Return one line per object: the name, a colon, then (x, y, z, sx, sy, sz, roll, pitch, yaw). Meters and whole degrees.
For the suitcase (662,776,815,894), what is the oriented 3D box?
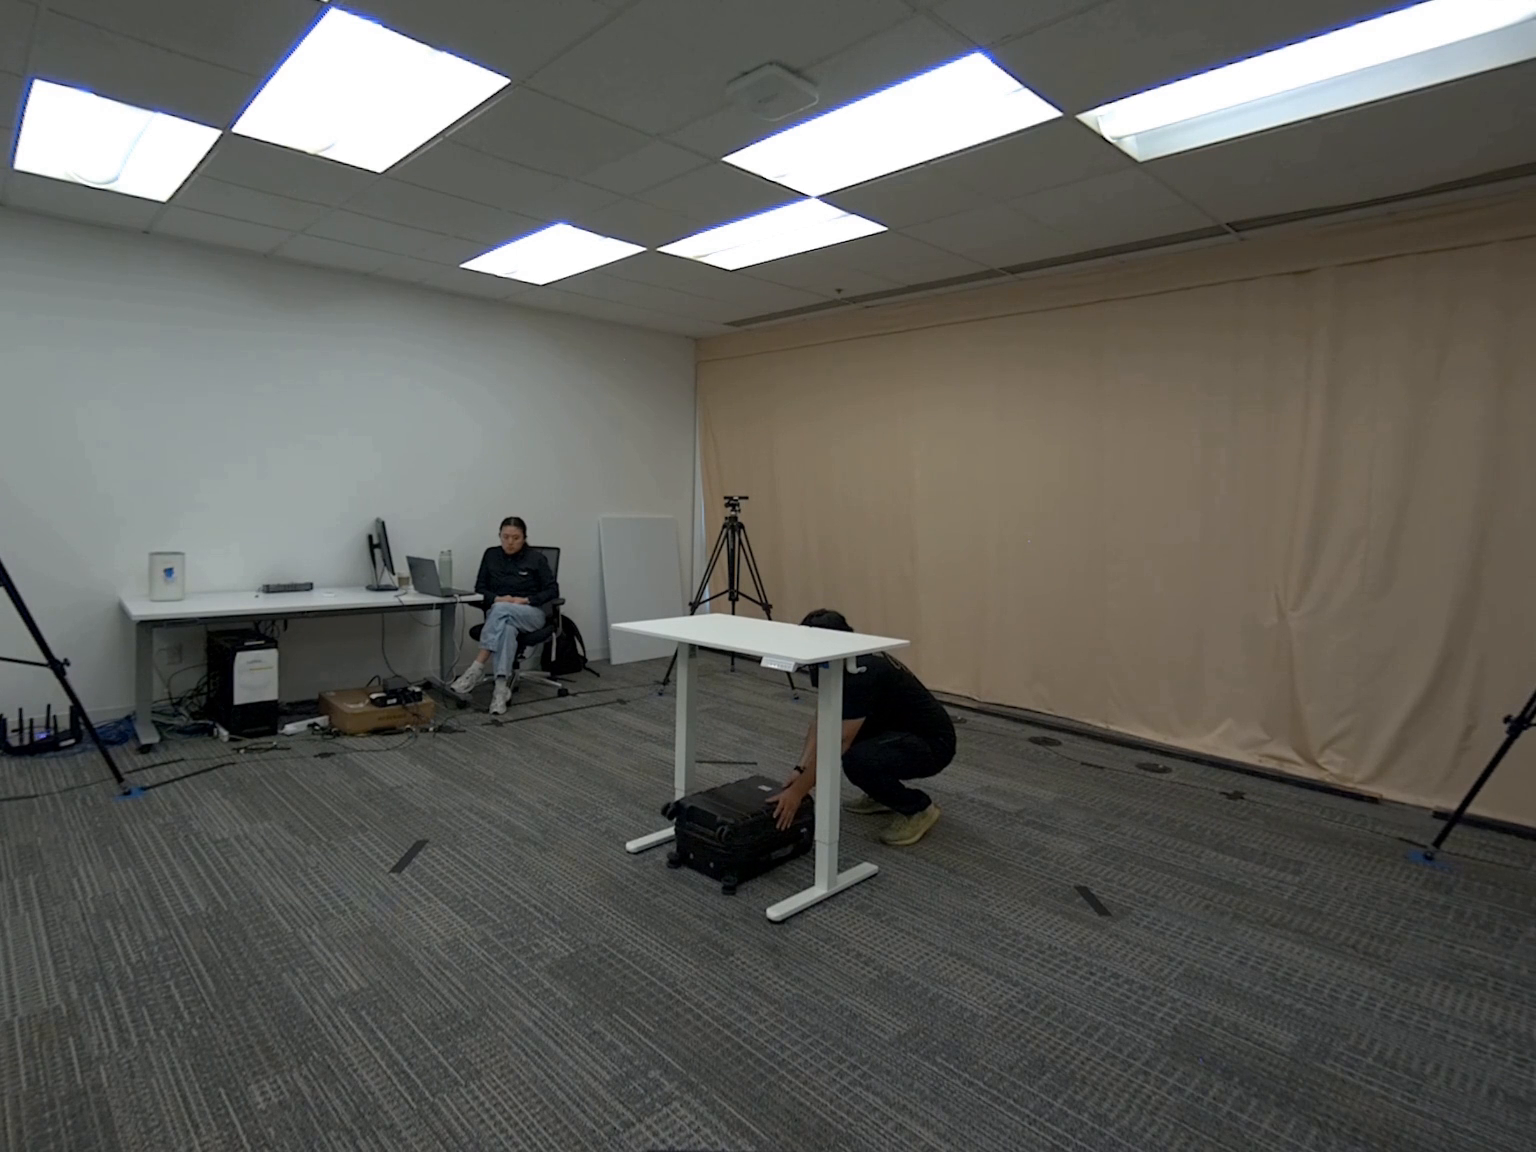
suitcase: (-0.092, 0.974, 3.258, 0.385, 0.248, 0.537, 5, 6, 42)
